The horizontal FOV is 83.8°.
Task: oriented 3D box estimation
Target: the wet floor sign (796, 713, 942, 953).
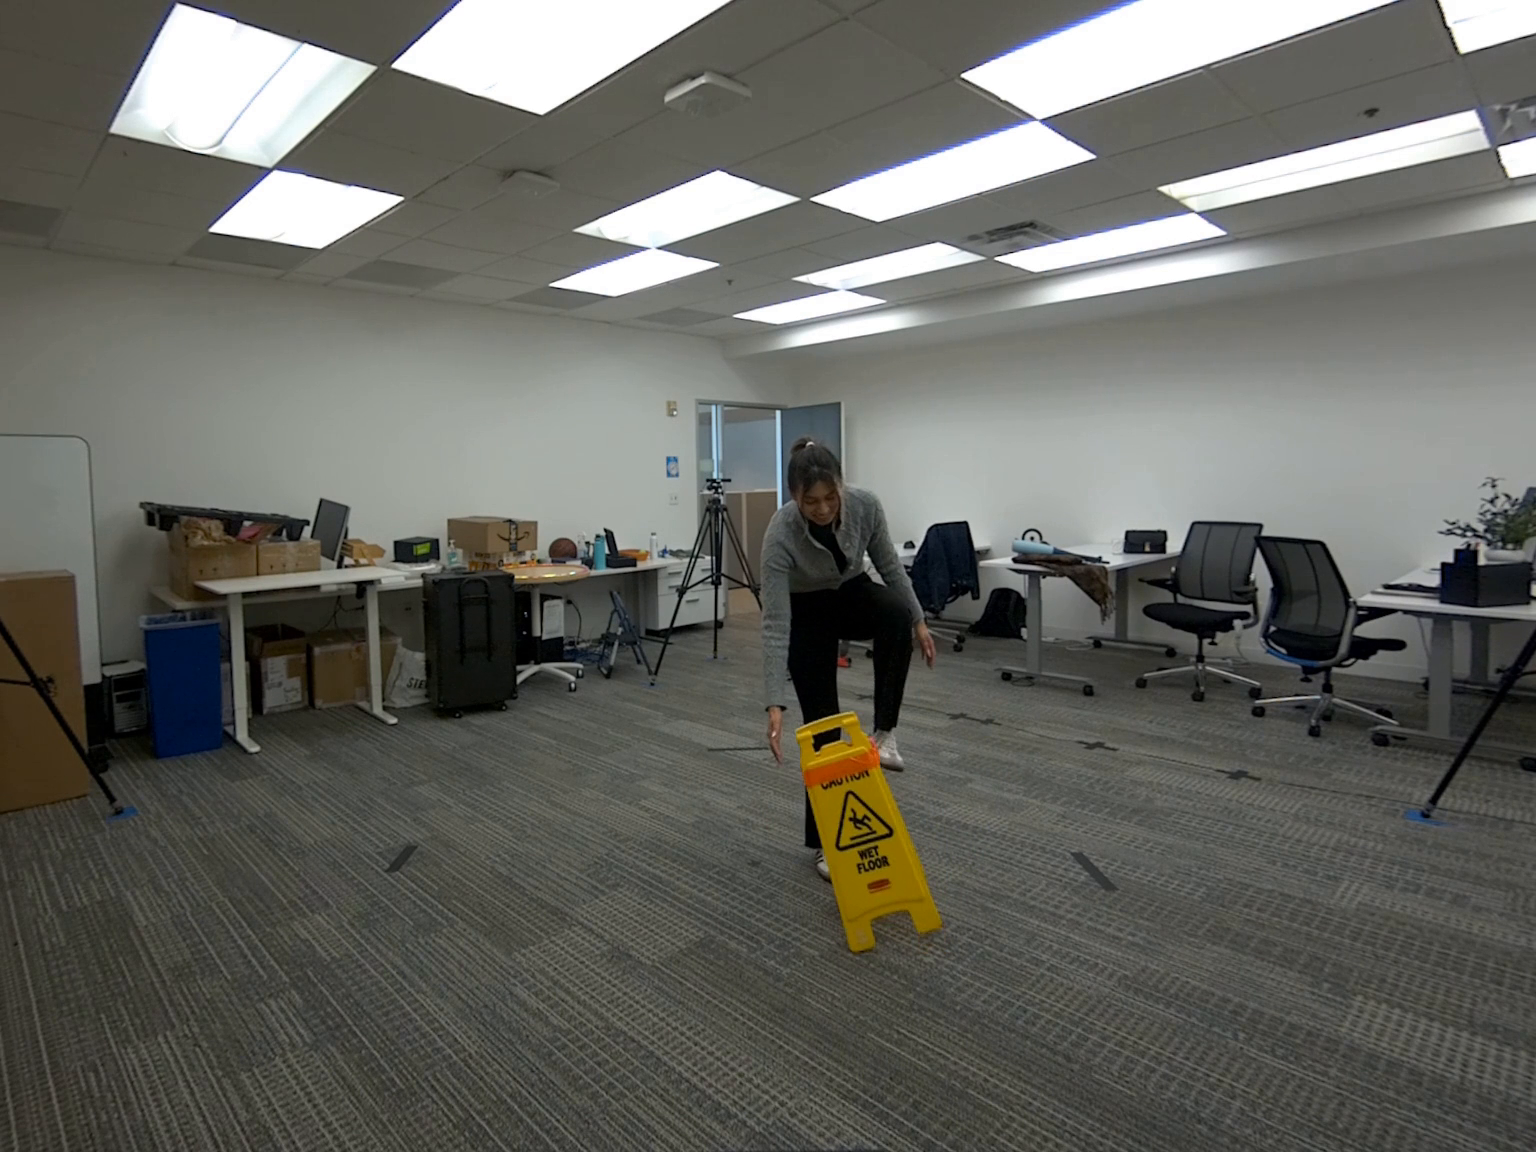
[{"bbox_3d":[0.285,0.751,2.632,0.283,0.644,0.290,-19,3,4],"label":"wet floor sign"}]
